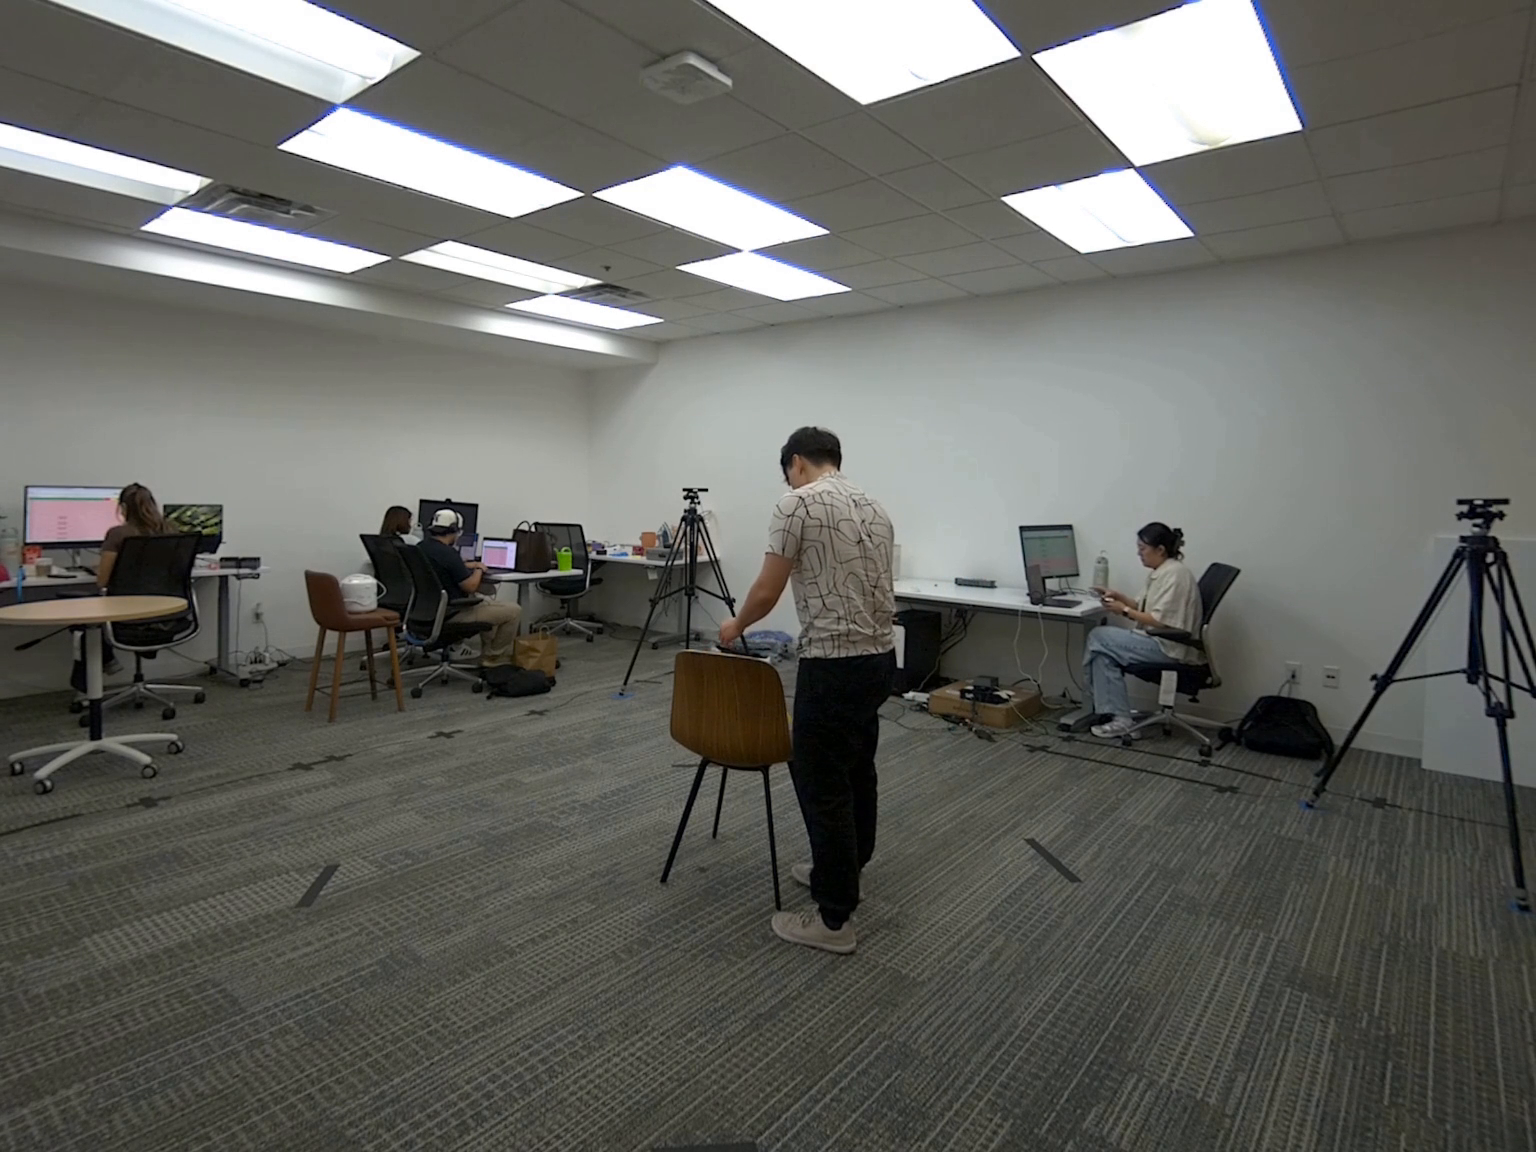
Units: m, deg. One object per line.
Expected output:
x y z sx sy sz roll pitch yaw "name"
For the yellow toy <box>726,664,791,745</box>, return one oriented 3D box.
-0.039 0.473 3.139 0.203 0.229 0.196 -2 9 -8 "yellow toy"
